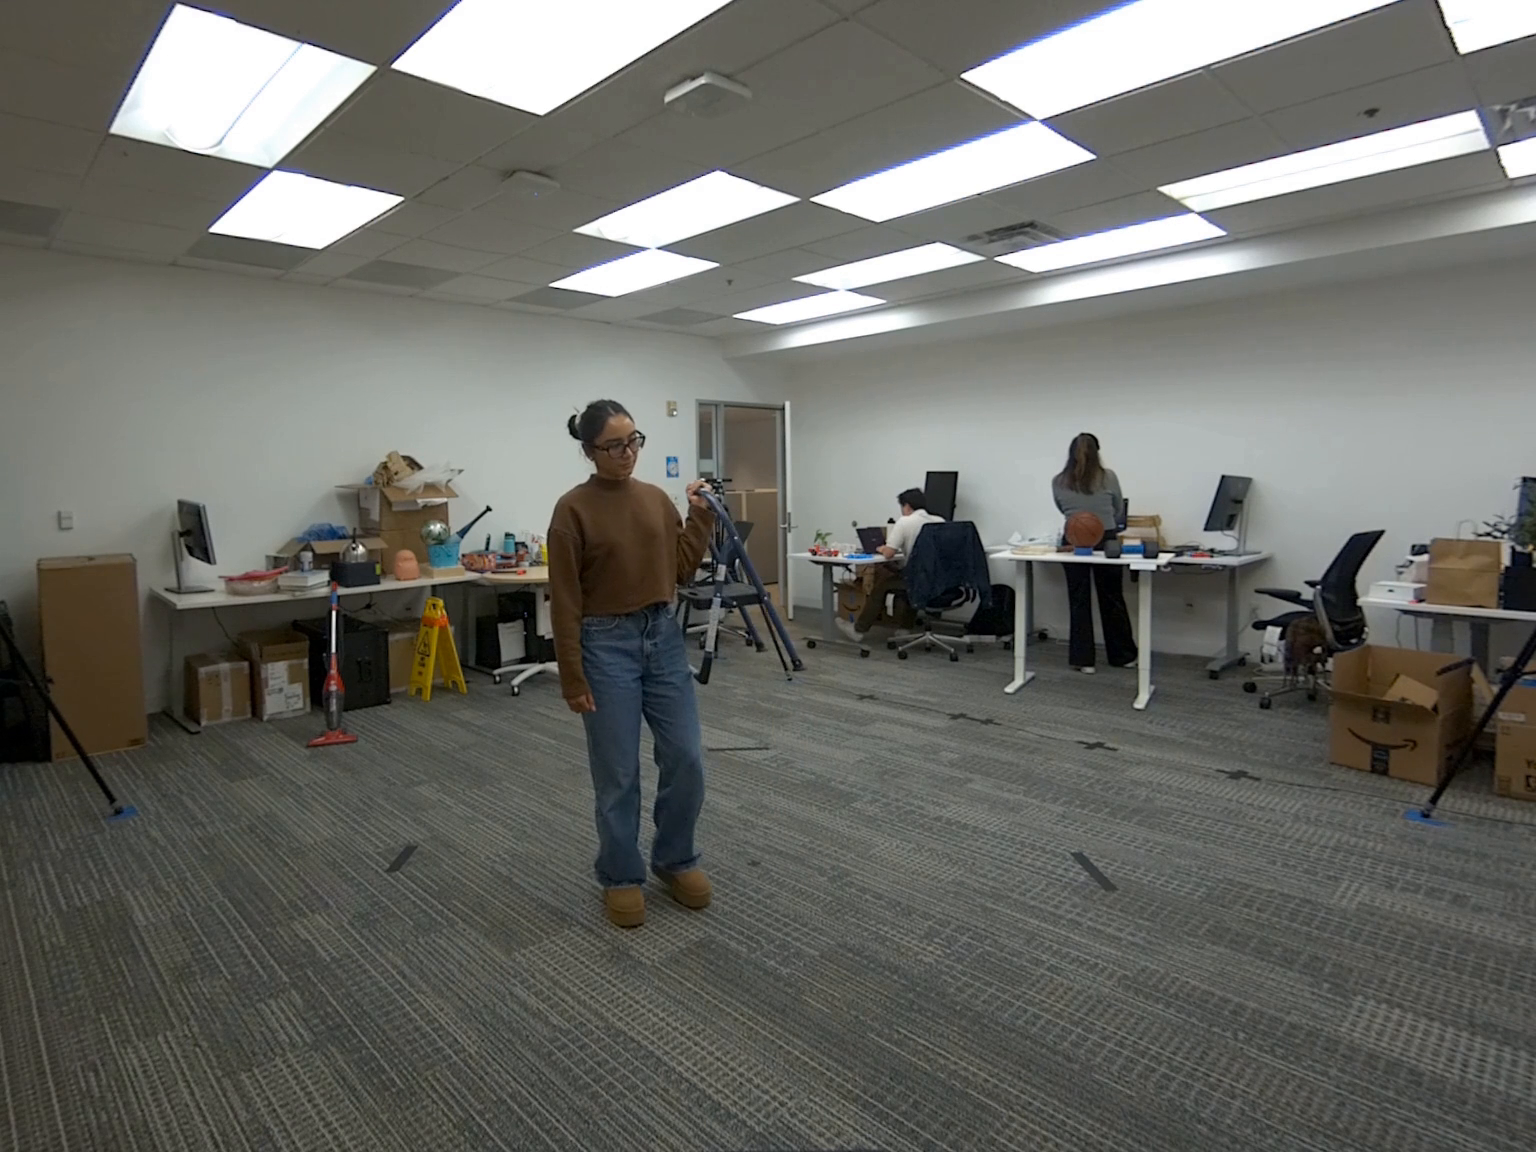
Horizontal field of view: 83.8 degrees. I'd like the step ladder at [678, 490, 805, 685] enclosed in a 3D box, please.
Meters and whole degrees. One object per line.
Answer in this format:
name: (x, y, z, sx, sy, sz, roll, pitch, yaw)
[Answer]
step ladder: (-0.138, 0.002, 2.857, 0.344, 0.604, 0.438, -7, 4, -17)
